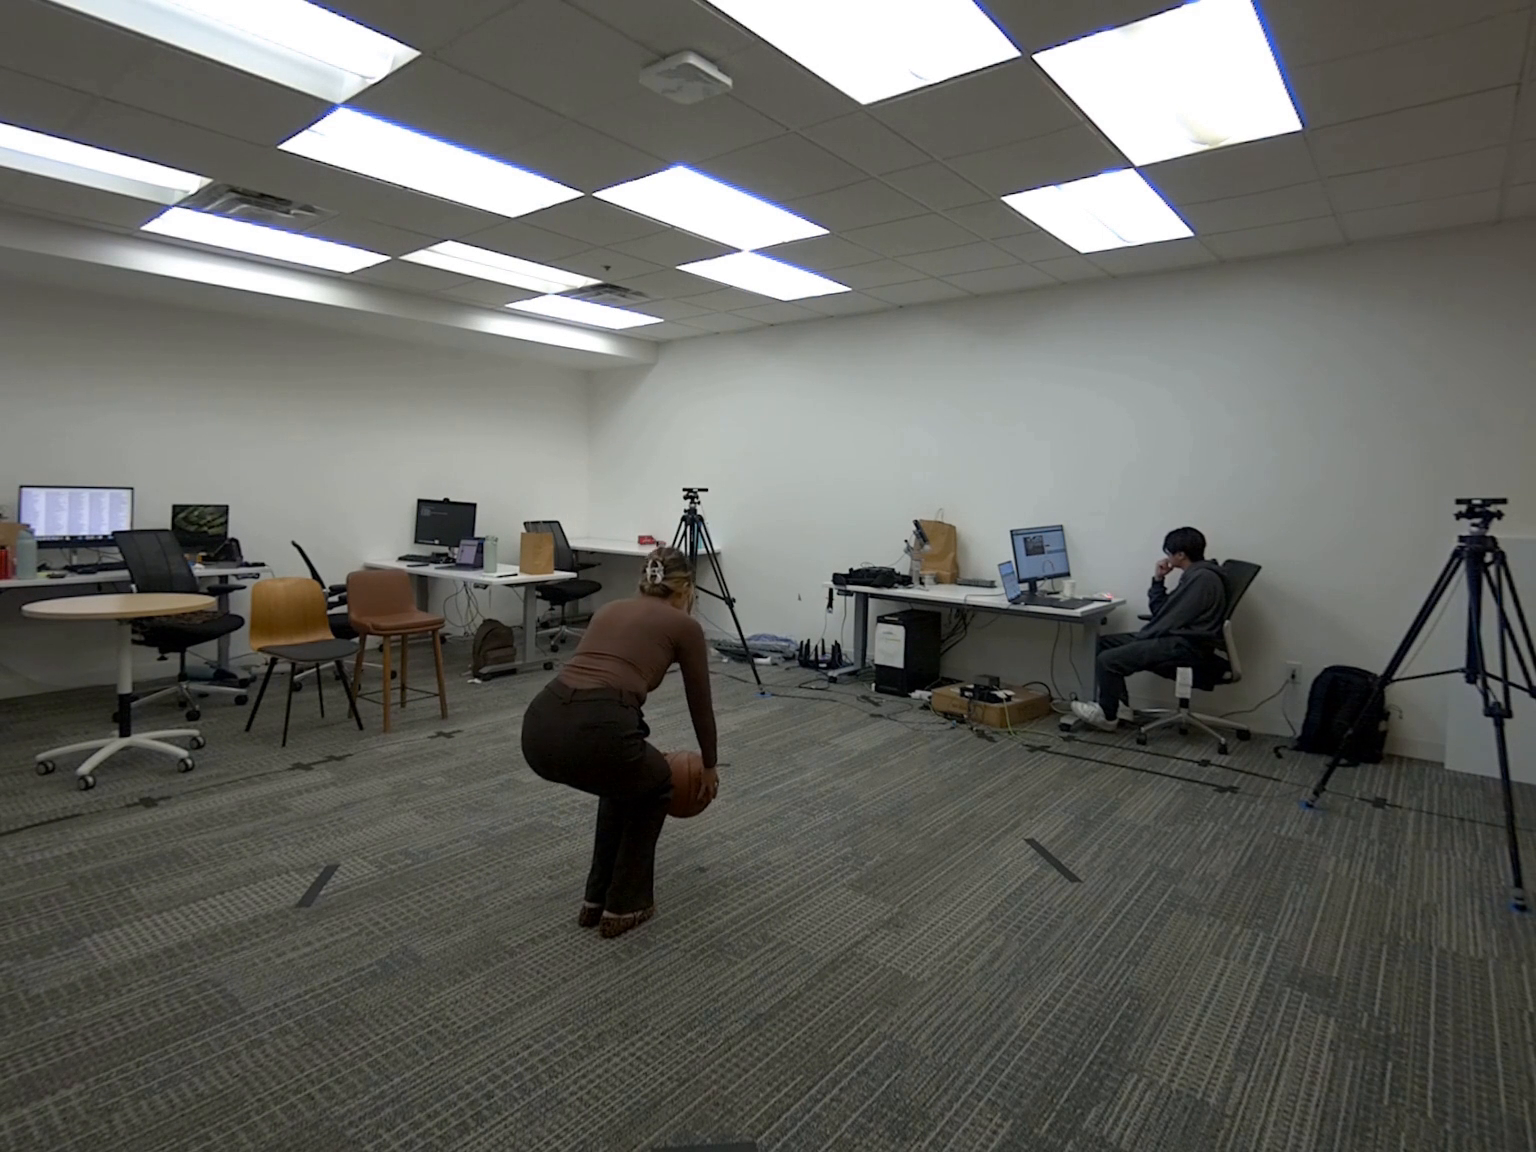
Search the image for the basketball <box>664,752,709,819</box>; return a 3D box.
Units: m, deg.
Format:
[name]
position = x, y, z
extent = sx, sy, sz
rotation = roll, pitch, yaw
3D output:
[basketball]
position = -0.316, 0.744, 3.118
extent = 0.235, 0.235, 0.237
rotation = 1, 4, -2
